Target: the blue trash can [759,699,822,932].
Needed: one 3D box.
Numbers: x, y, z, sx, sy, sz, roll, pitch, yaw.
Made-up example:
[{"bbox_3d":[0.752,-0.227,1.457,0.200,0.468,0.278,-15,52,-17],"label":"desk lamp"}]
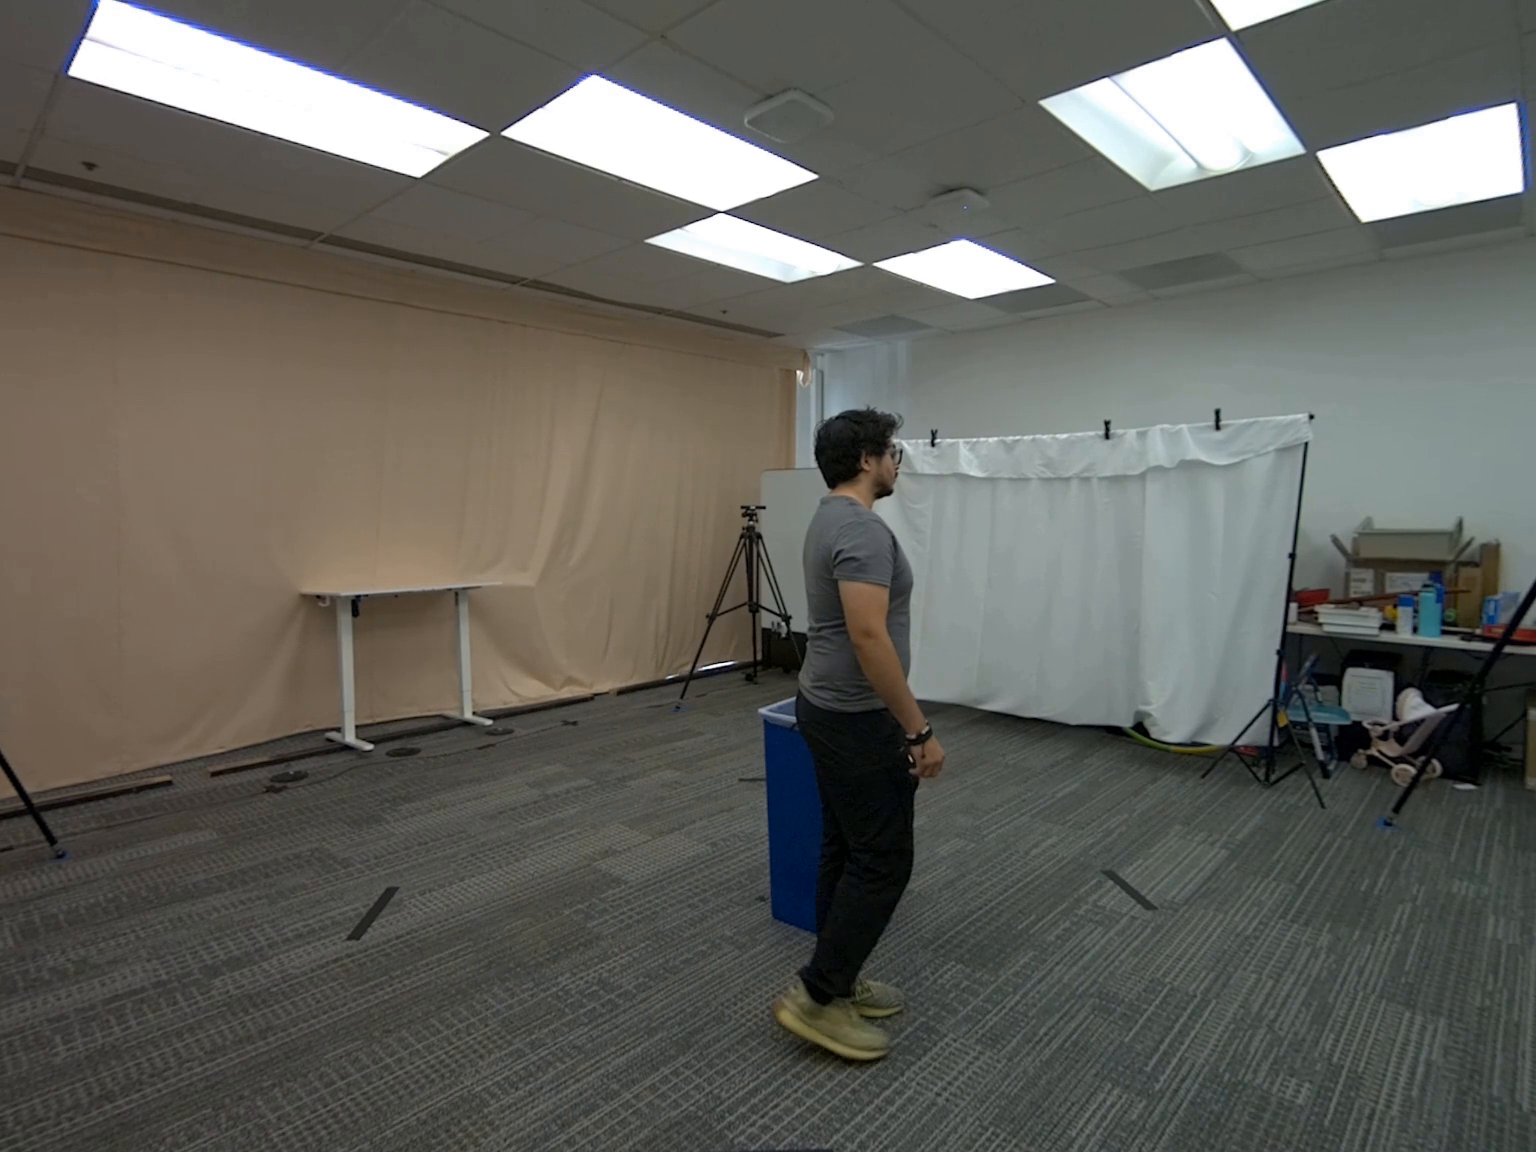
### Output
[{"bbox_3d":[0.213,0.796,2.845,0.390,0.712,0.363,2,4,37],"label":"blue trash can"}]
